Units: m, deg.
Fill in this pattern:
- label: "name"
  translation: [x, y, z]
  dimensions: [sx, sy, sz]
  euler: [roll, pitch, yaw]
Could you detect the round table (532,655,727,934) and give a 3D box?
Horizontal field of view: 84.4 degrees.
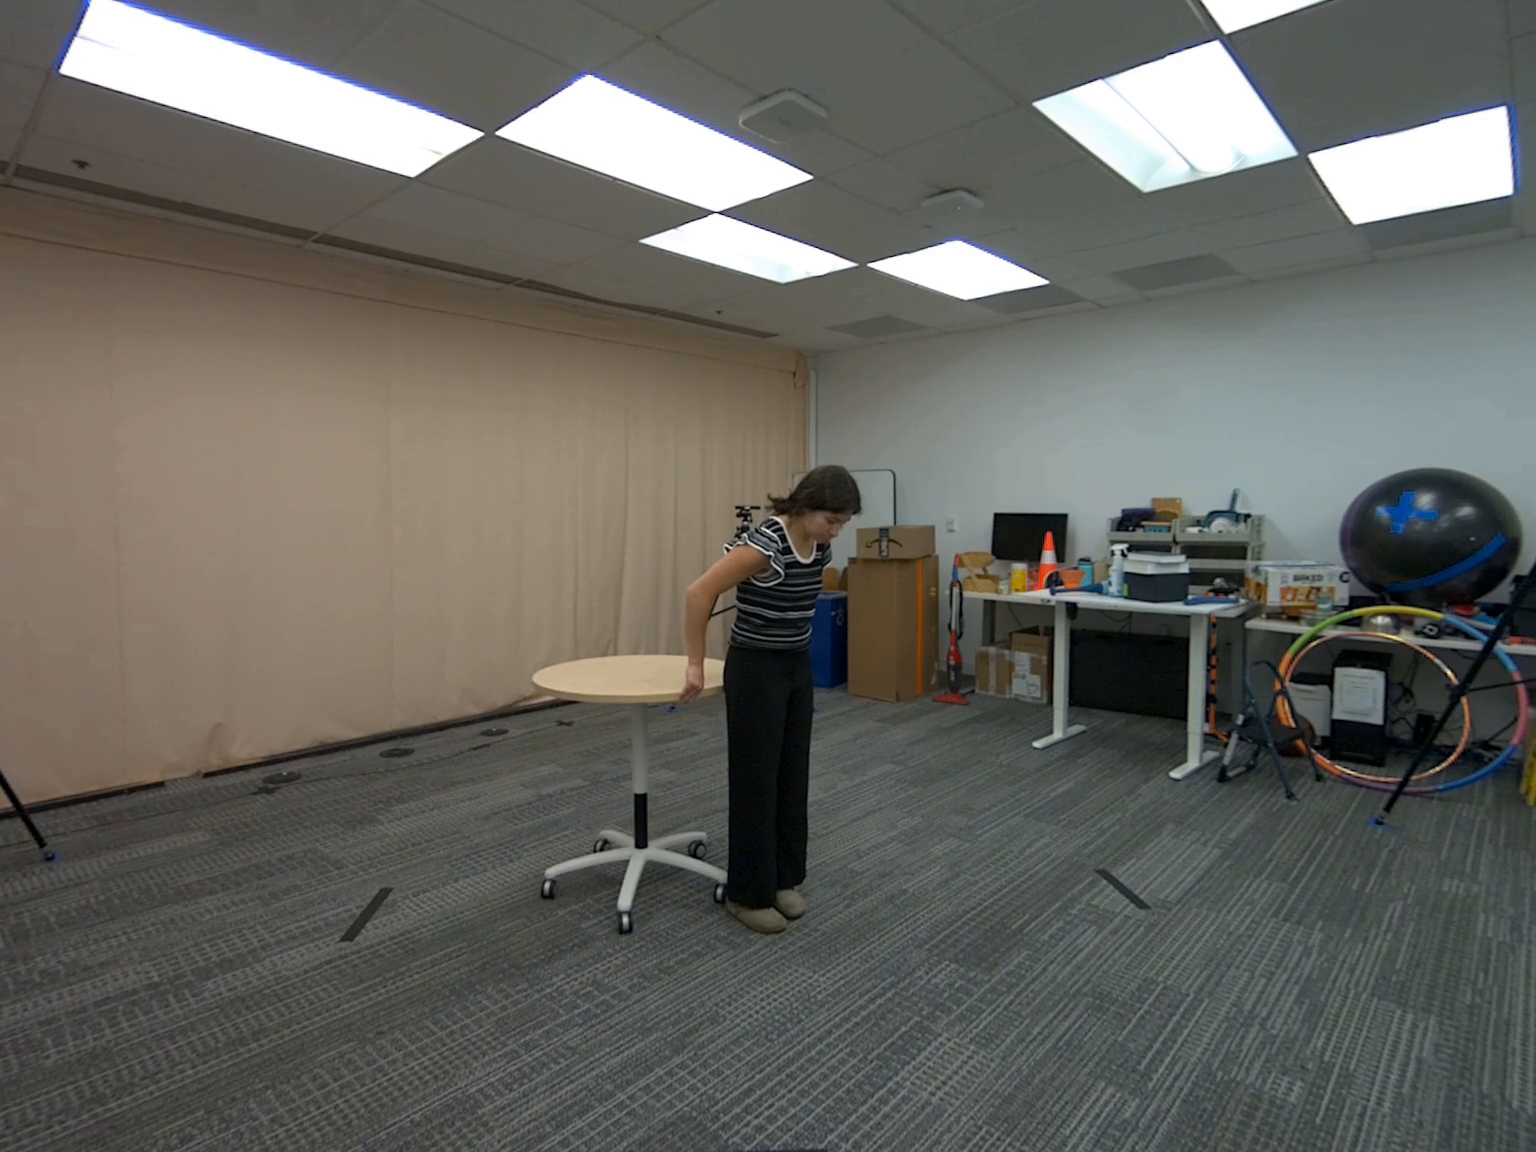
- label: "round table"
  translation: [-0.459, 0.745, 3.080]
  dimensions: [0.784, 0.785, 0.787]
  euler: [-1, 3, -2]
